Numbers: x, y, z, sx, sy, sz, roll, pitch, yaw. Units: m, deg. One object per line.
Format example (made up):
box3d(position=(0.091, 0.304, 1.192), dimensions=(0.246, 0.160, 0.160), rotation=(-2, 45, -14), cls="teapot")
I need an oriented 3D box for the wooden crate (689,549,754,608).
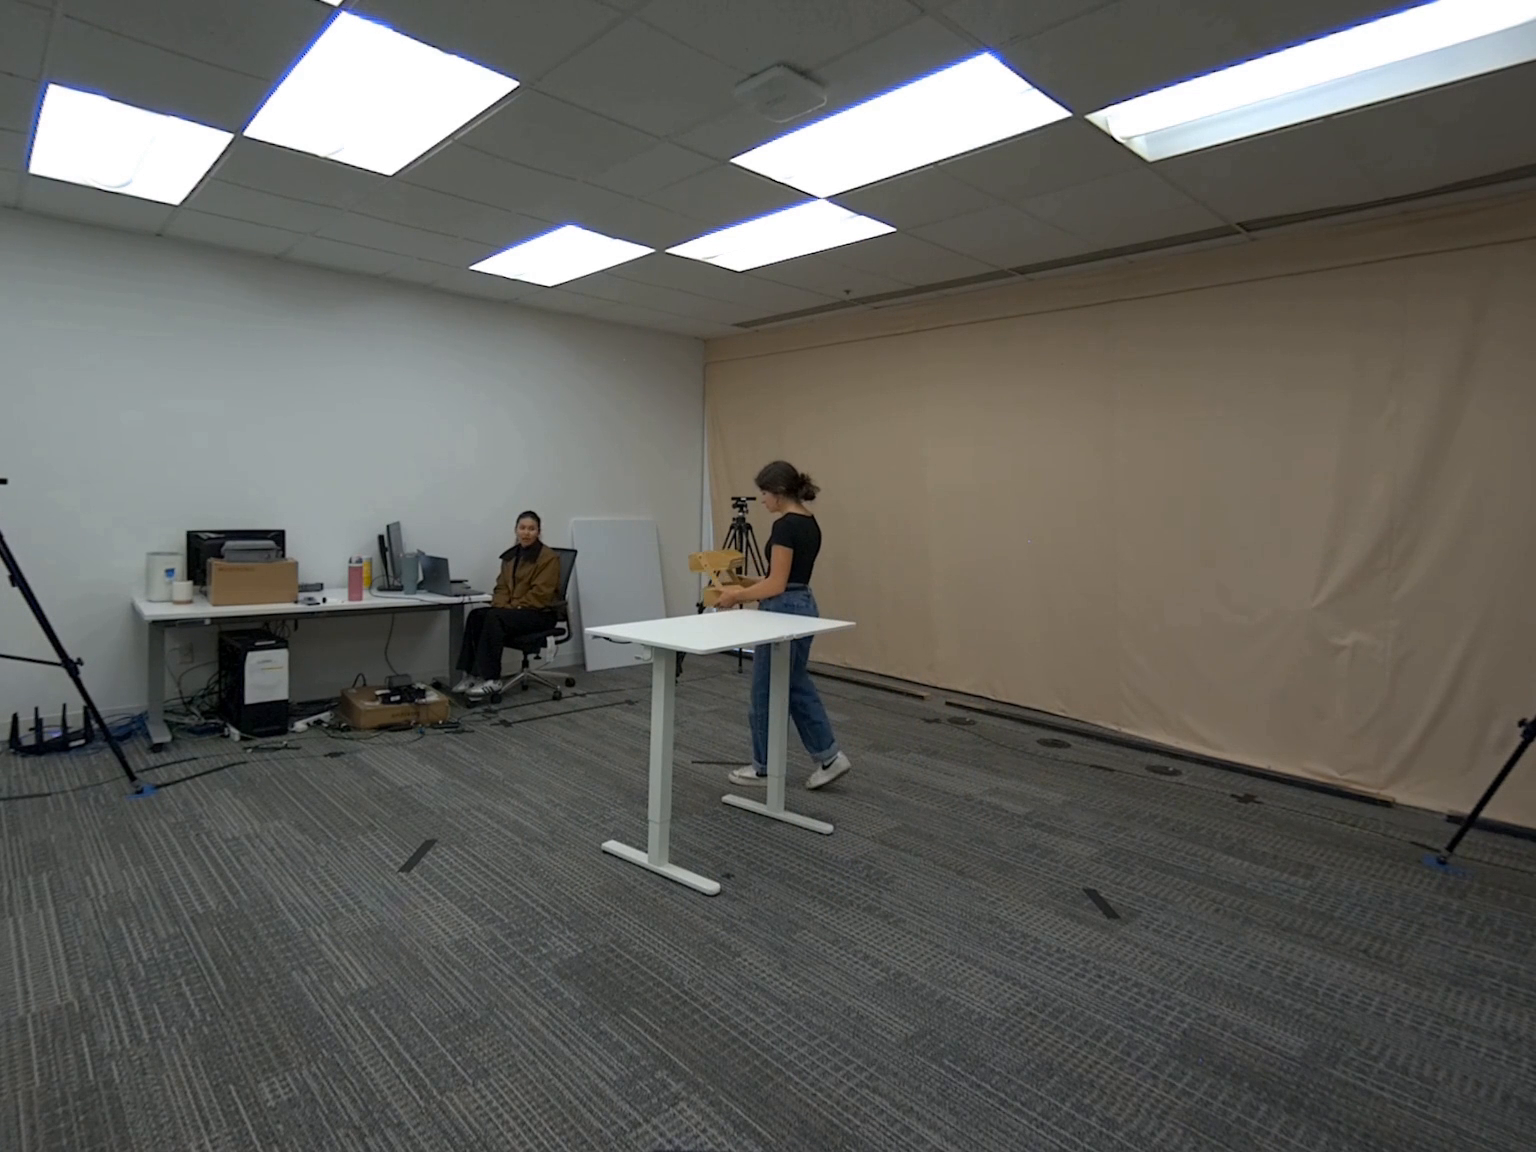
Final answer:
box3d(position=(-0.193, -0.006, 4.162), dimensions=(0.305, 0.273, 0.321), rotation=(-5, 2, 15), cls="wooden crate")
